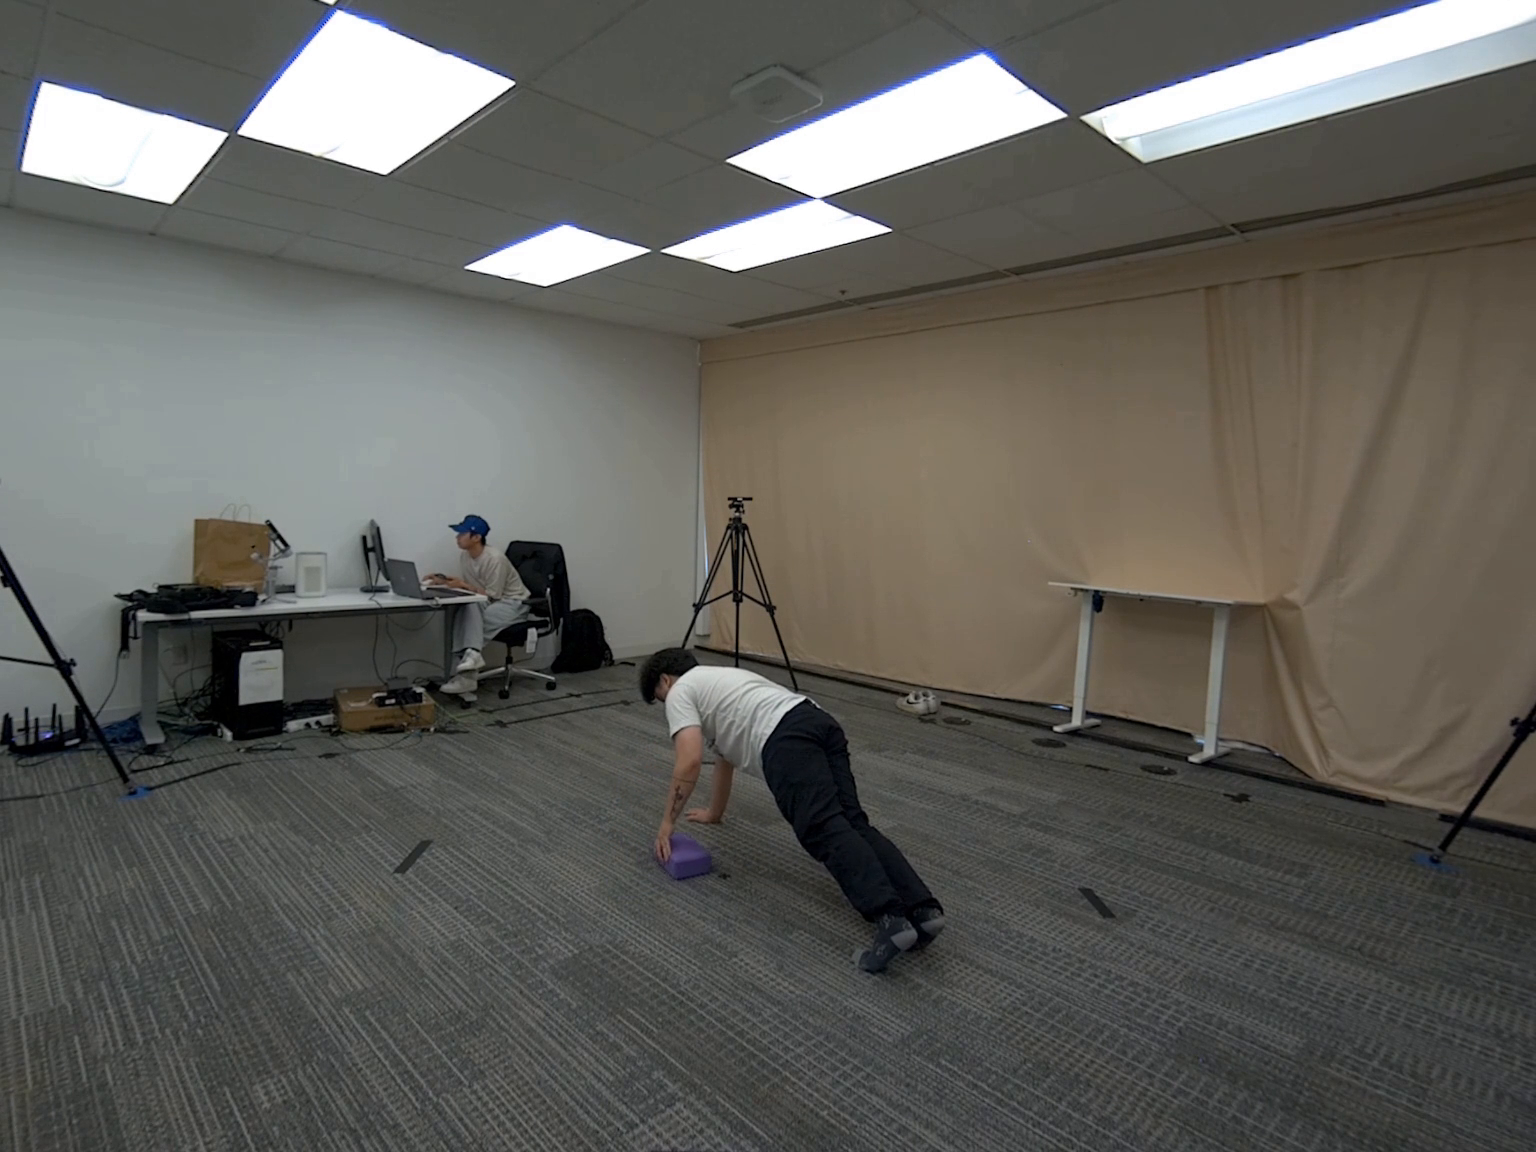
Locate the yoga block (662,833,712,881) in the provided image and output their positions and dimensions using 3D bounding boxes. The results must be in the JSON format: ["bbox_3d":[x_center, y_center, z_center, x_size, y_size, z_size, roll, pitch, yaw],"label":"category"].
[{"bbox_3d":[-0.331,1.054,3.187,0.146,0.076,0.234,-2,6,-28],"label":"yoga block"}]
